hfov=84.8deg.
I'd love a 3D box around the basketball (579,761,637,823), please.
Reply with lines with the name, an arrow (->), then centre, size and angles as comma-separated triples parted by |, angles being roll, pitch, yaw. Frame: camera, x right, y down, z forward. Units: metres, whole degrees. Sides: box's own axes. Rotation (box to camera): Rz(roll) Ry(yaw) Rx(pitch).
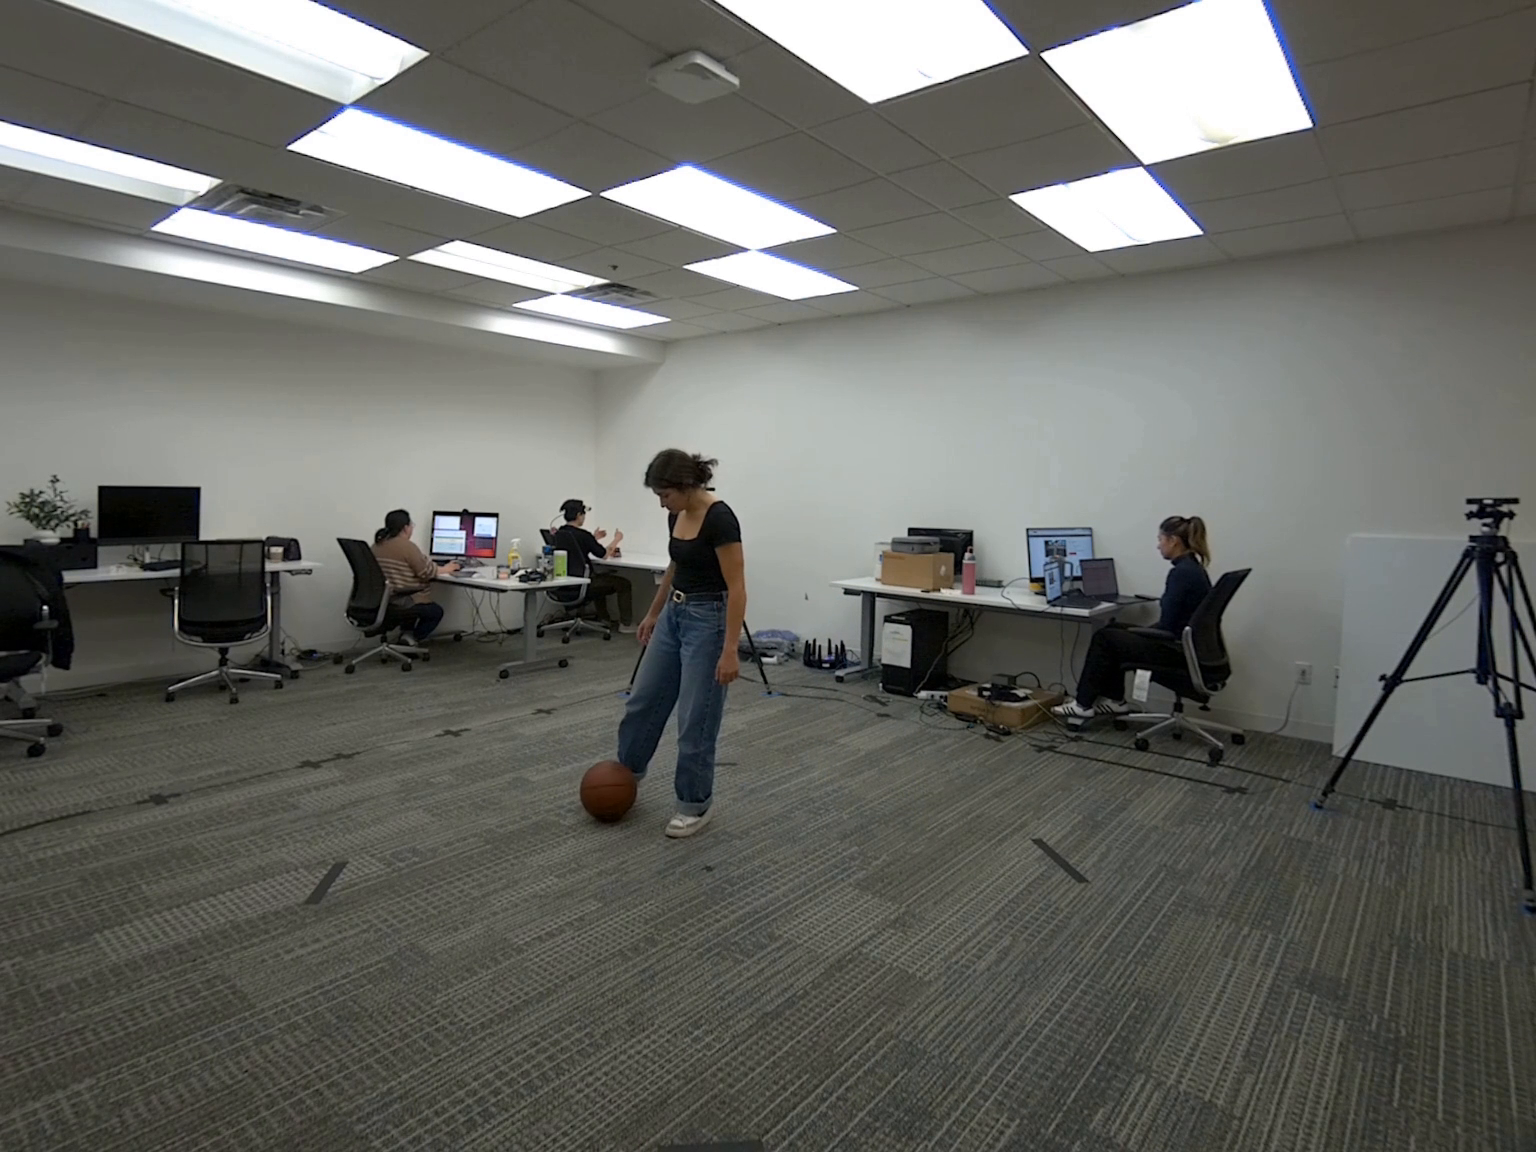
basketball -> -0.684, 0.892, 3.560 | 0.235, 0.235, 0.237 | 1, 4, -2
